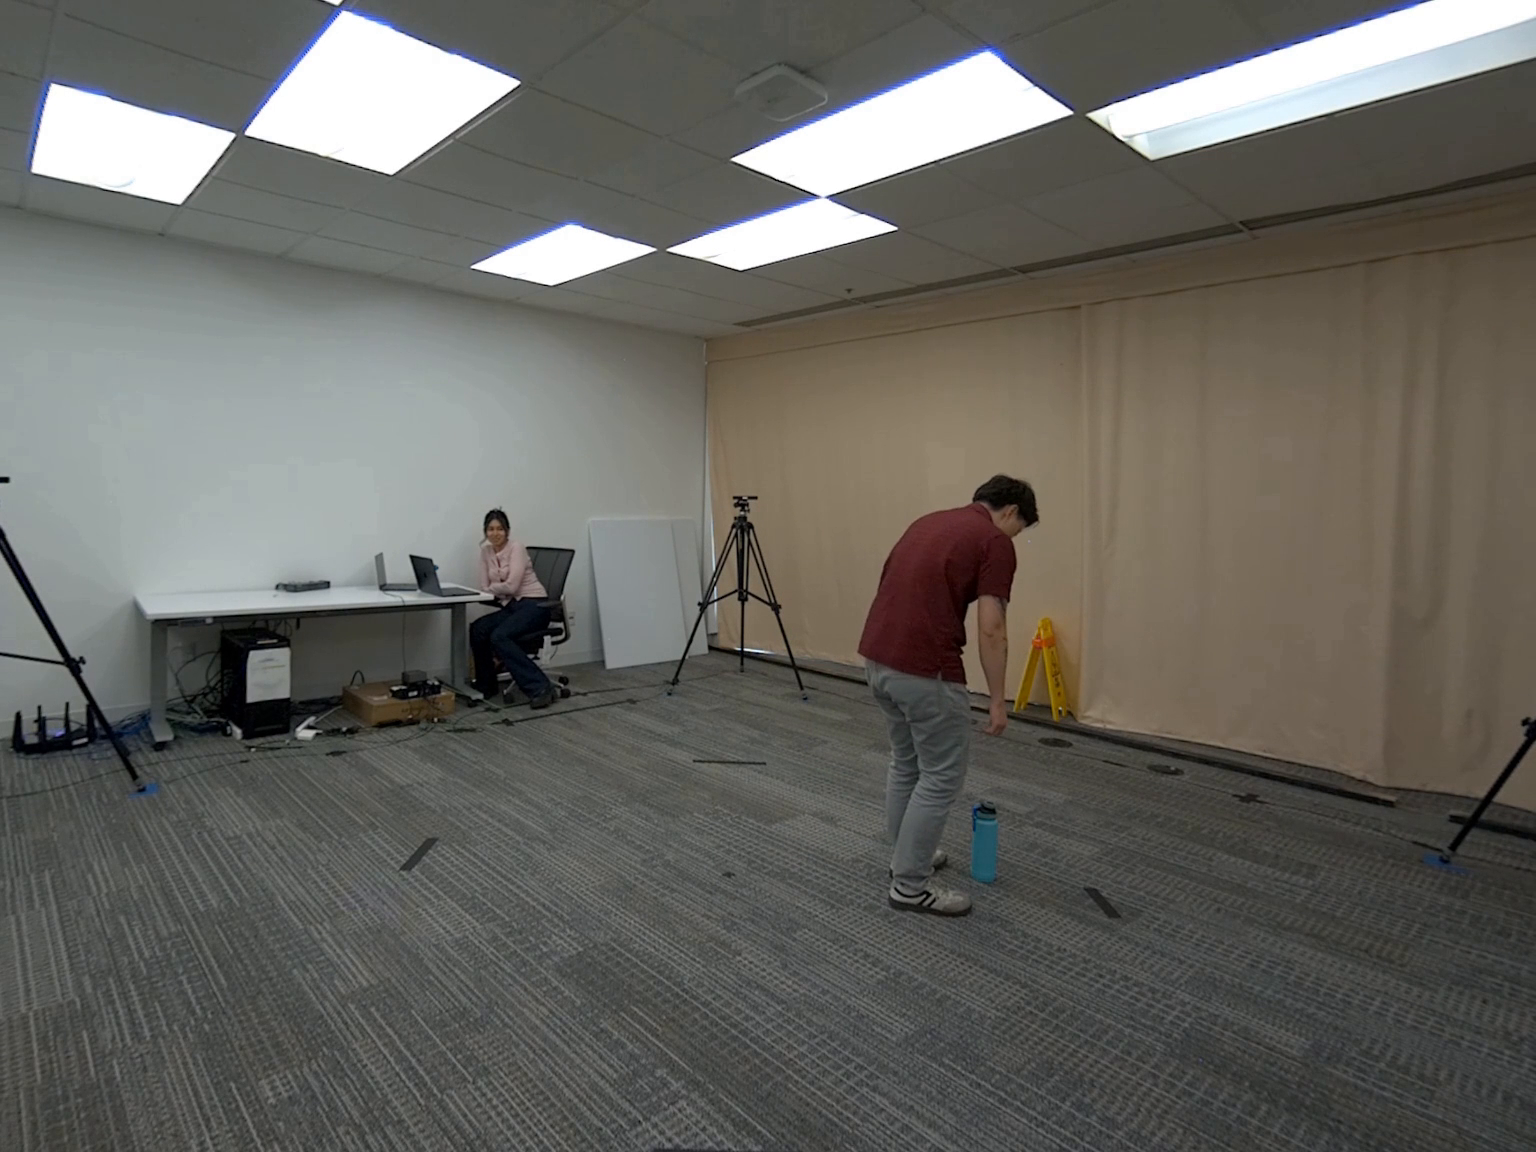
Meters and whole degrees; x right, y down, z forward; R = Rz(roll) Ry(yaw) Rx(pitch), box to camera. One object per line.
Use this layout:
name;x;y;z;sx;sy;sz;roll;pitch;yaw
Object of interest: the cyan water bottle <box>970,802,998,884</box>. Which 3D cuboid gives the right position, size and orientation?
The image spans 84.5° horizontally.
cyan water bottle;0.793;0.981;3.136;0.092;0.283;0.092;1;3;-1
